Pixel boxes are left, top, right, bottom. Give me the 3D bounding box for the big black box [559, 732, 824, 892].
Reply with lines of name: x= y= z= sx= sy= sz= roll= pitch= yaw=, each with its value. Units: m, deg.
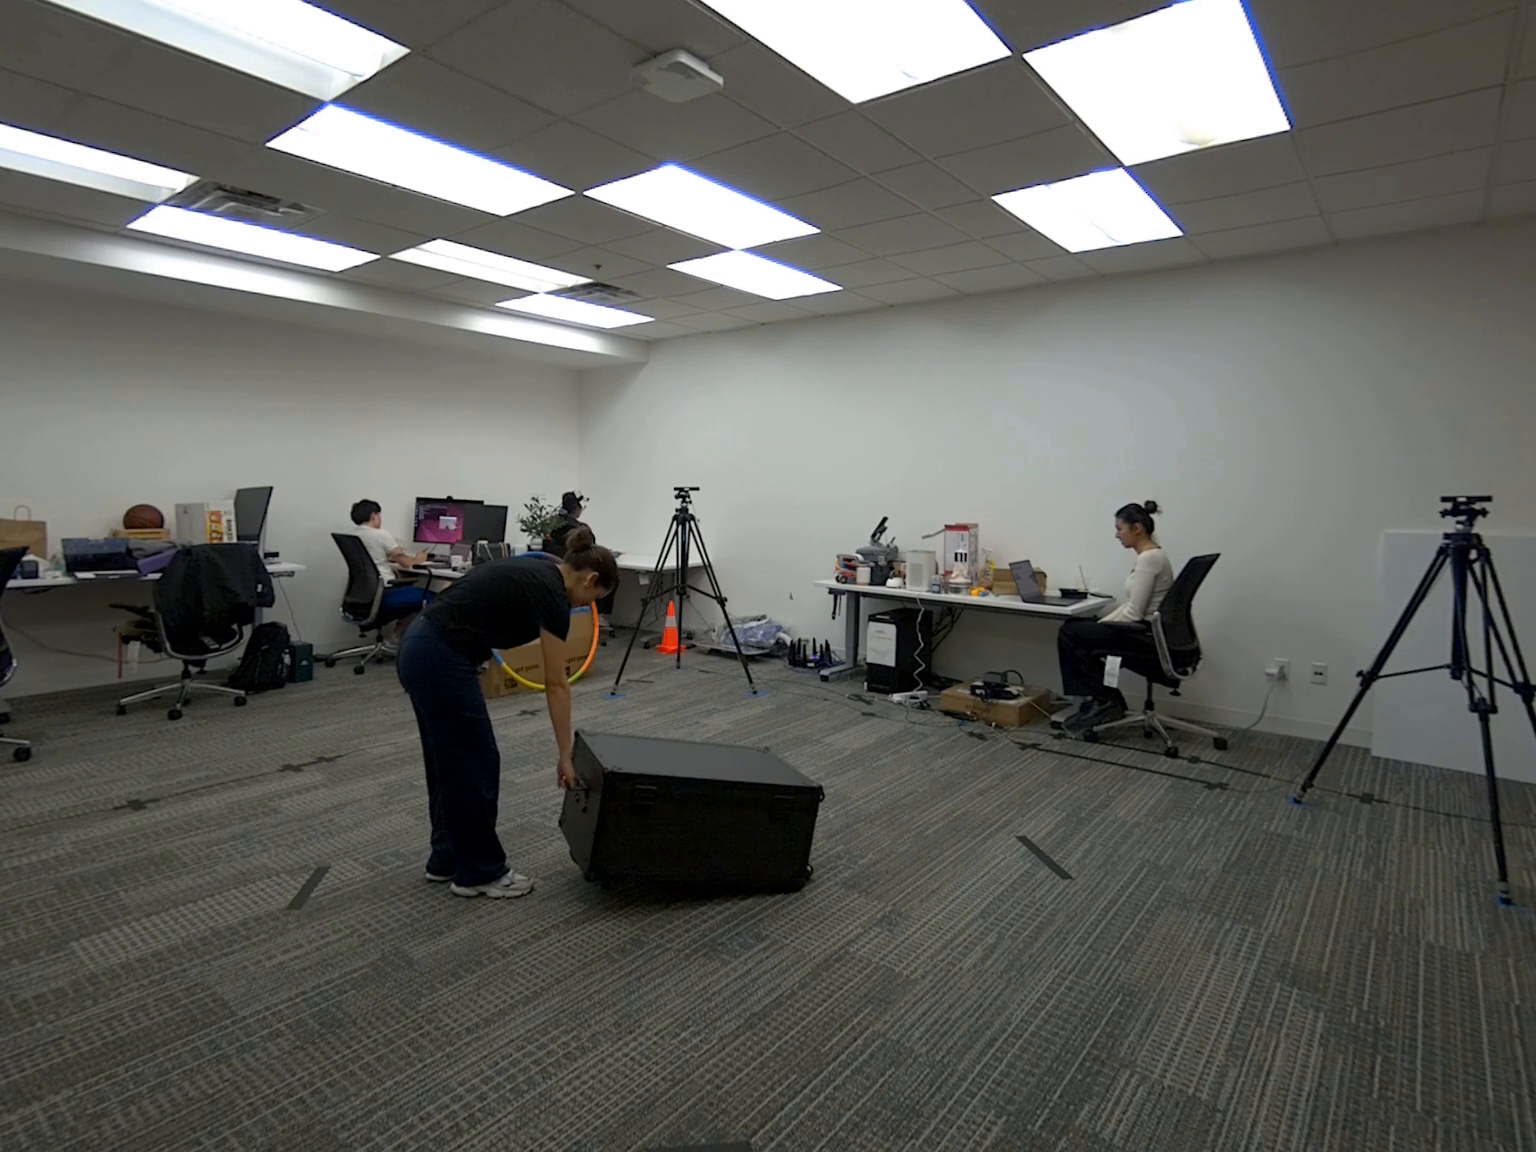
big black box: x=-0.249 y=0.834 z=3.050 sx=0.841 sy=0.396 sz=0.534 roll=9 pitch=1 yaw=-22
